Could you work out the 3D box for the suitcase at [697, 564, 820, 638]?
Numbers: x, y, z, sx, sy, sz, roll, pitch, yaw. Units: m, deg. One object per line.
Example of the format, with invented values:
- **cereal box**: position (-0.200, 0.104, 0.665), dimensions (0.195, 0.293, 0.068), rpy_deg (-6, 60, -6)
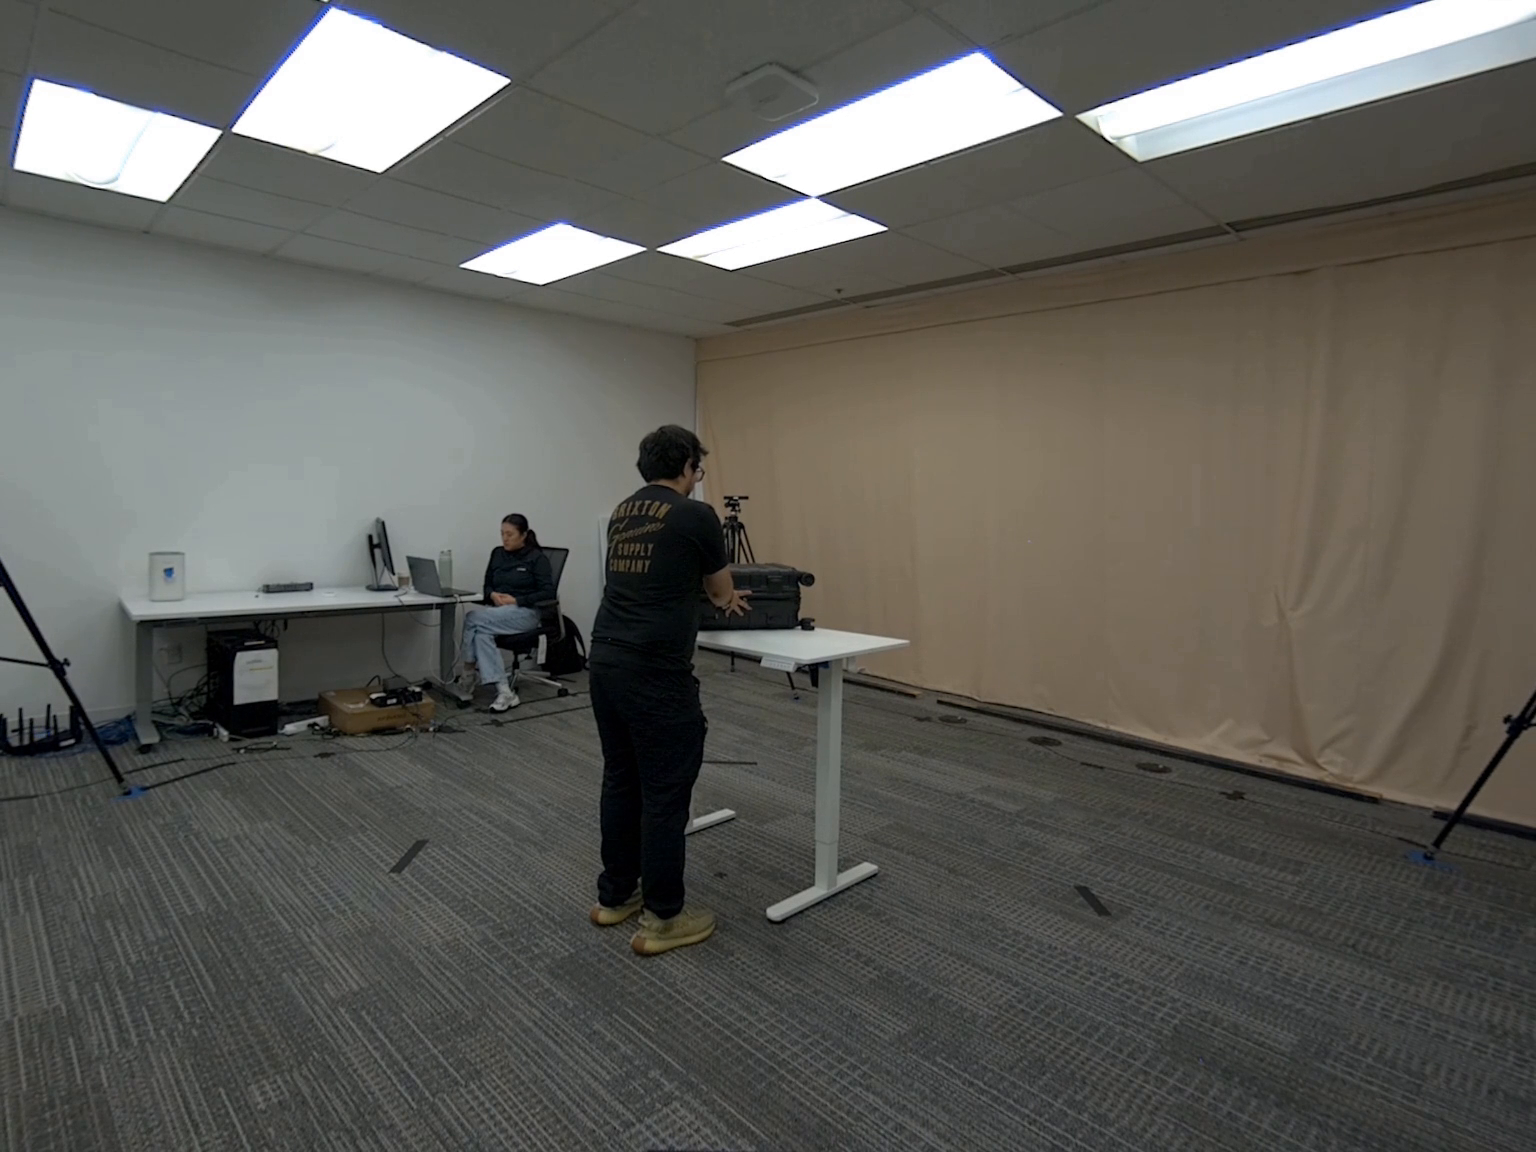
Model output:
- **suitcase**: position (-0.127, 0.089, 3.375), dimensions (0.542, 0.248, 0.381), rpy_deg (2, 4, -16)
